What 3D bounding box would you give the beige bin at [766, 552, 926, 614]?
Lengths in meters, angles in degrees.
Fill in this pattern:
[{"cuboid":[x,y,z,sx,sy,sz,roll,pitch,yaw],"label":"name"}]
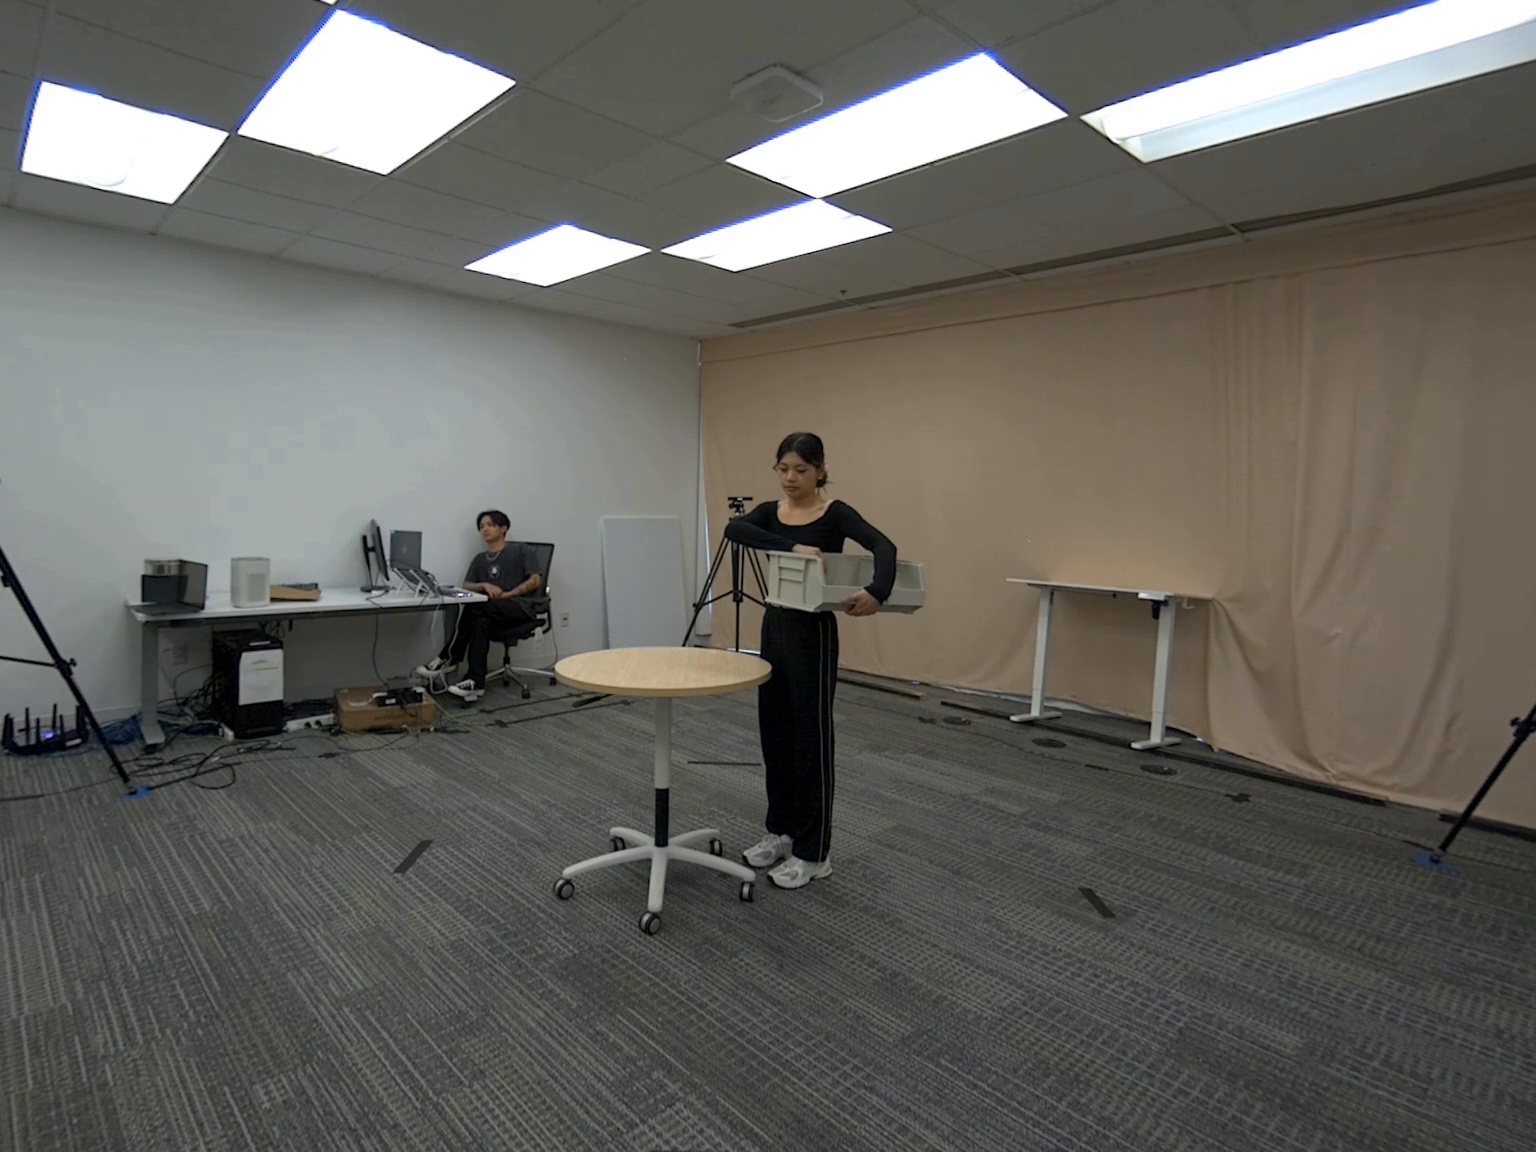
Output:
[{"cuboid":[0.254,0.022,2.873,0.414,0.188,0.385,2,4,-28],"label":"beige bin"}]
